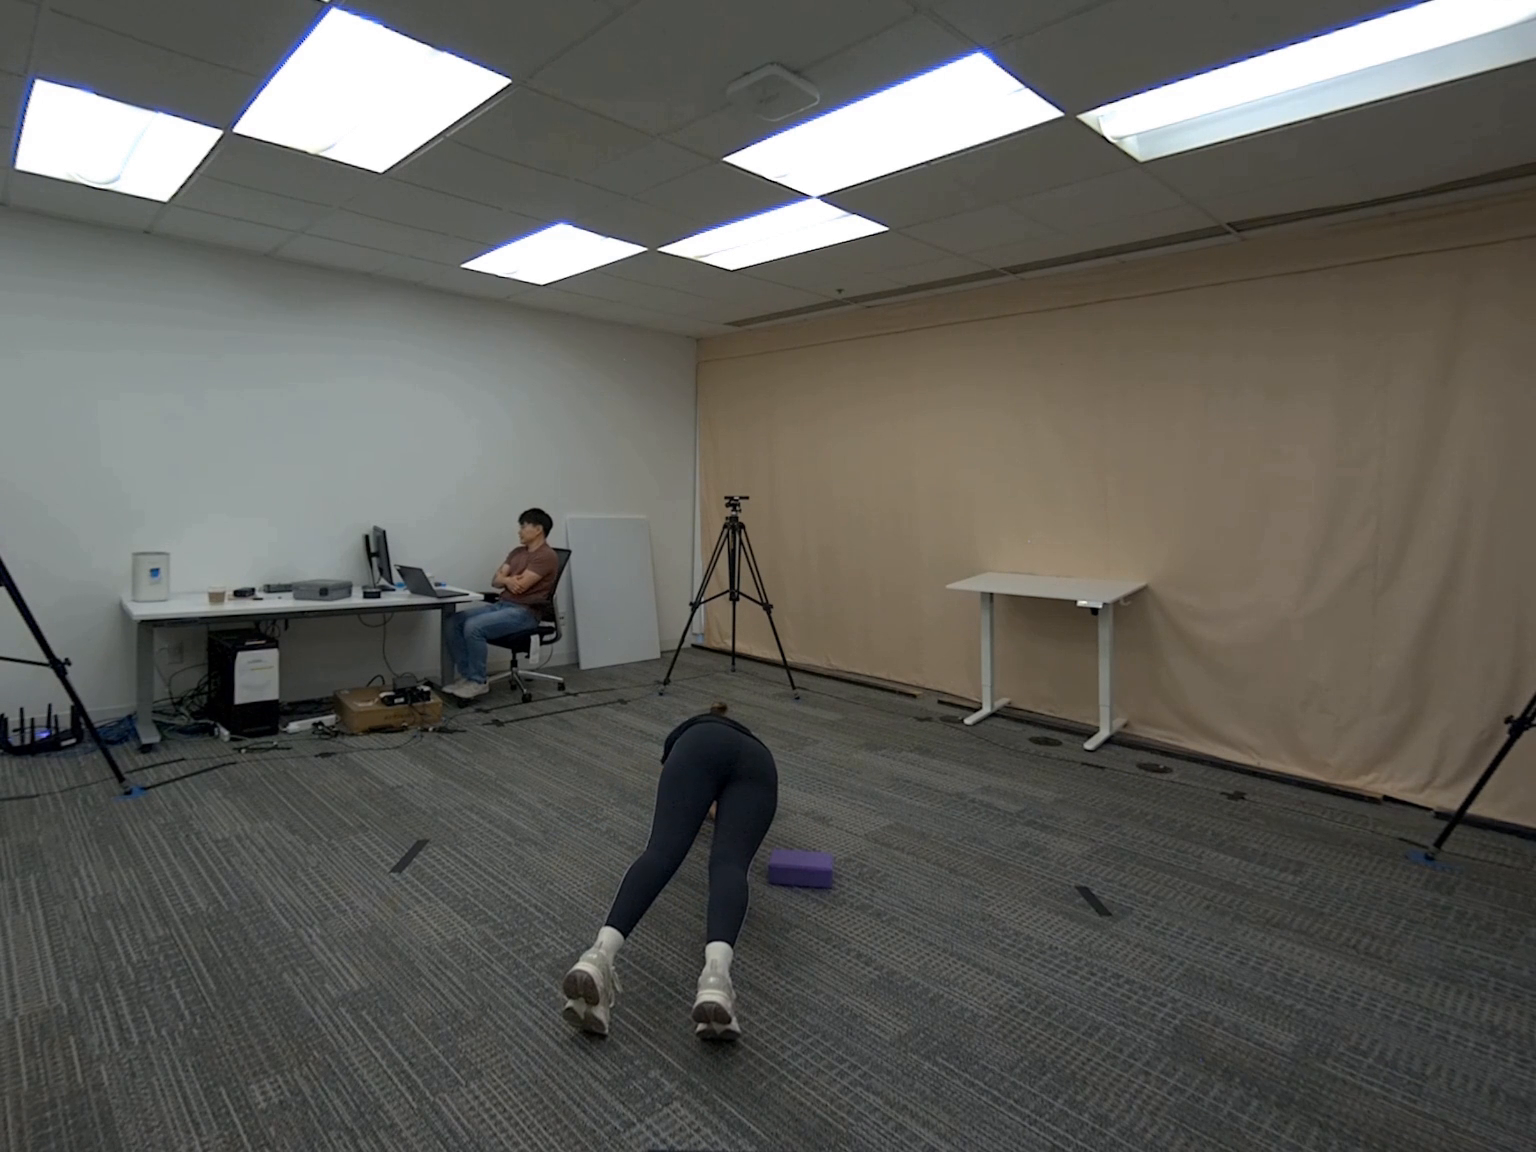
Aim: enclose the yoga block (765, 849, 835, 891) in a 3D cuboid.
[{"bbox_3d":[0.114,1.072,3.081,0.231,0.076,0.148,0,4,7],"label":"yoga block"}]
